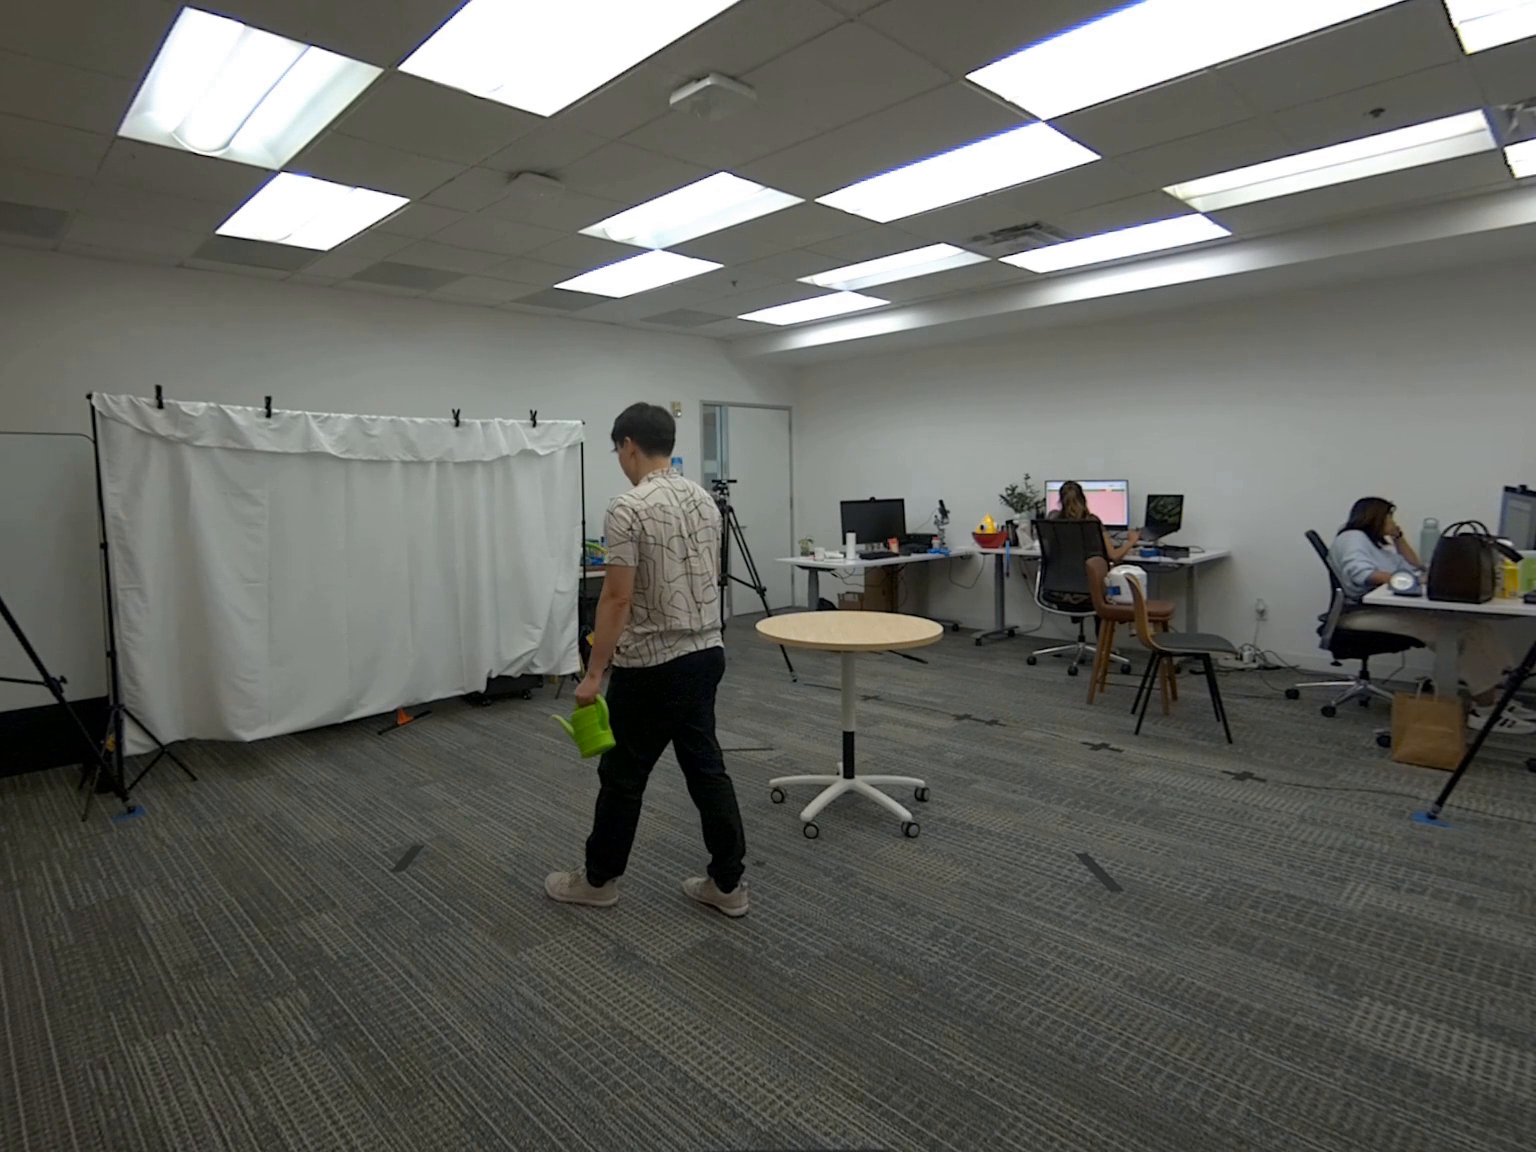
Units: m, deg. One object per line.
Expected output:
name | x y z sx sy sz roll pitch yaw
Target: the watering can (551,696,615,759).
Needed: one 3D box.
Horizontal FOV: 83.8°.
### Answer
watering can | -0.571 0.467 2.653 0.096 0.180 0.280 -8 -17 -34
